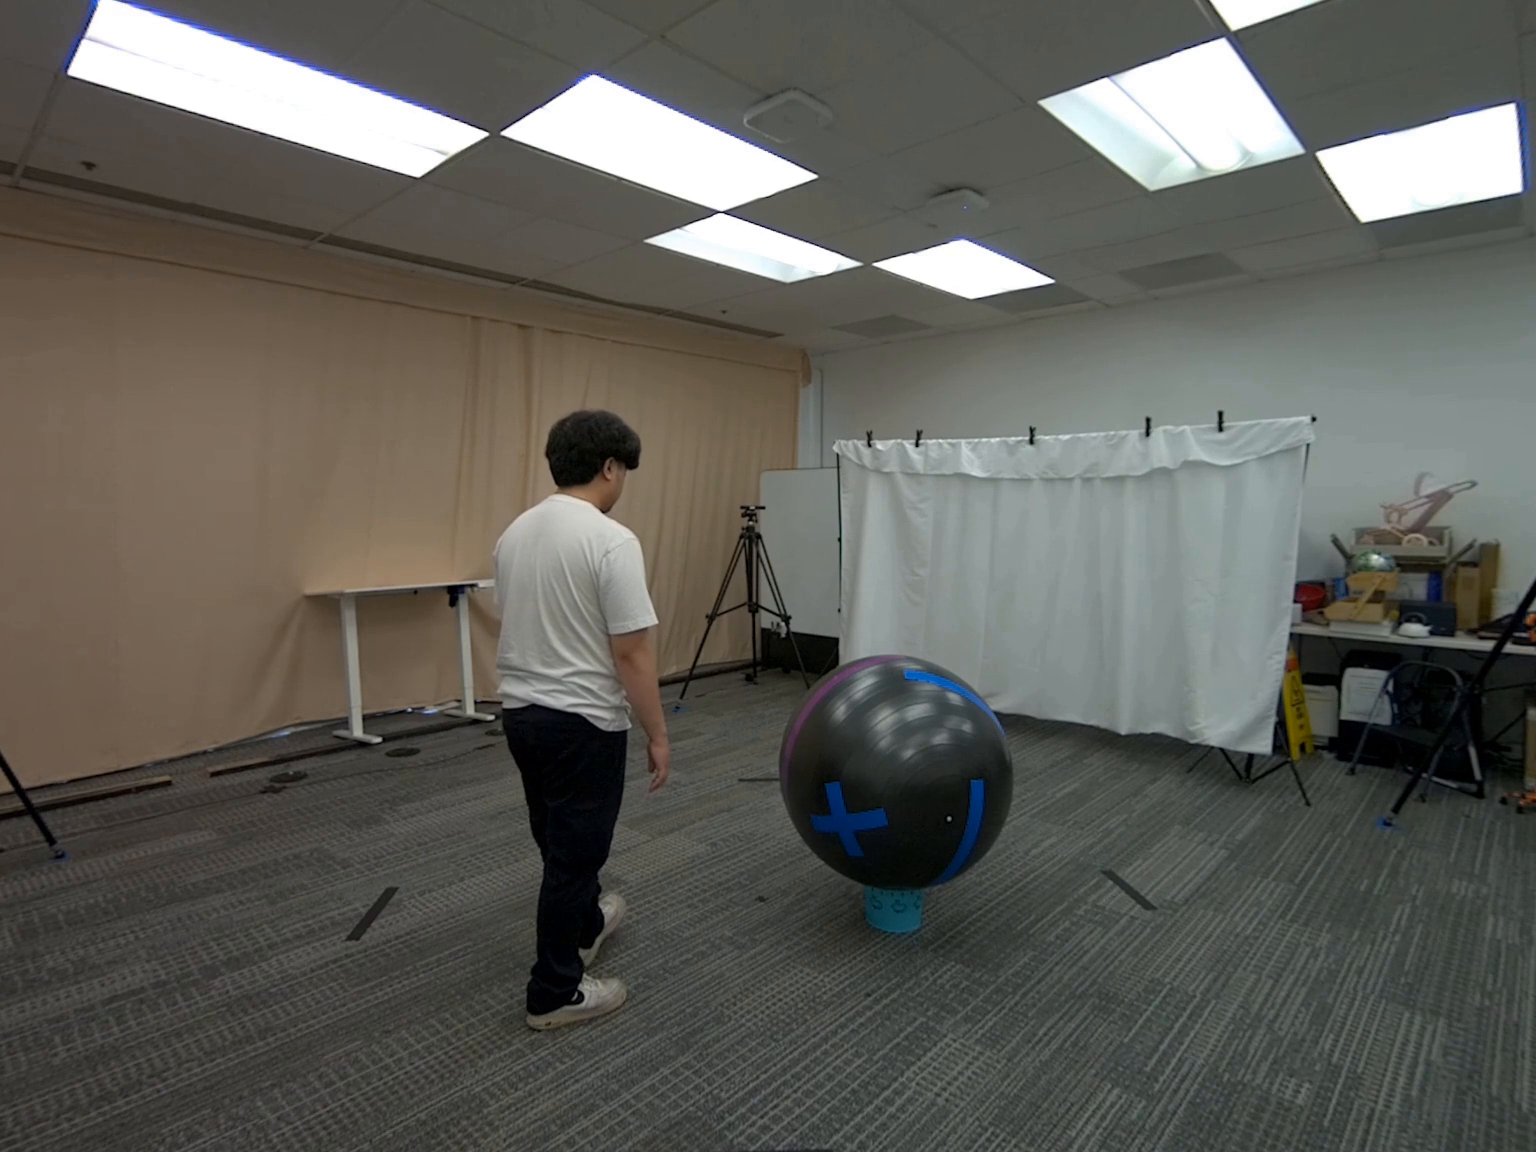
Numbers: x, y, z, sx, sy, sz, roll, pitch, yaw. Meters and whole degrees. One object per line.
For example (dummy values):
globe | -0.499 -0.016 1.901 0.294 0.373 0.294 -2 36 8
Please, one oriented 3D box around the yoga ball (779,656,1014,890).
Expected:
yoga ball | 0.423 0.645 2.812 0.757 0.756 0.760 0 4 -2
